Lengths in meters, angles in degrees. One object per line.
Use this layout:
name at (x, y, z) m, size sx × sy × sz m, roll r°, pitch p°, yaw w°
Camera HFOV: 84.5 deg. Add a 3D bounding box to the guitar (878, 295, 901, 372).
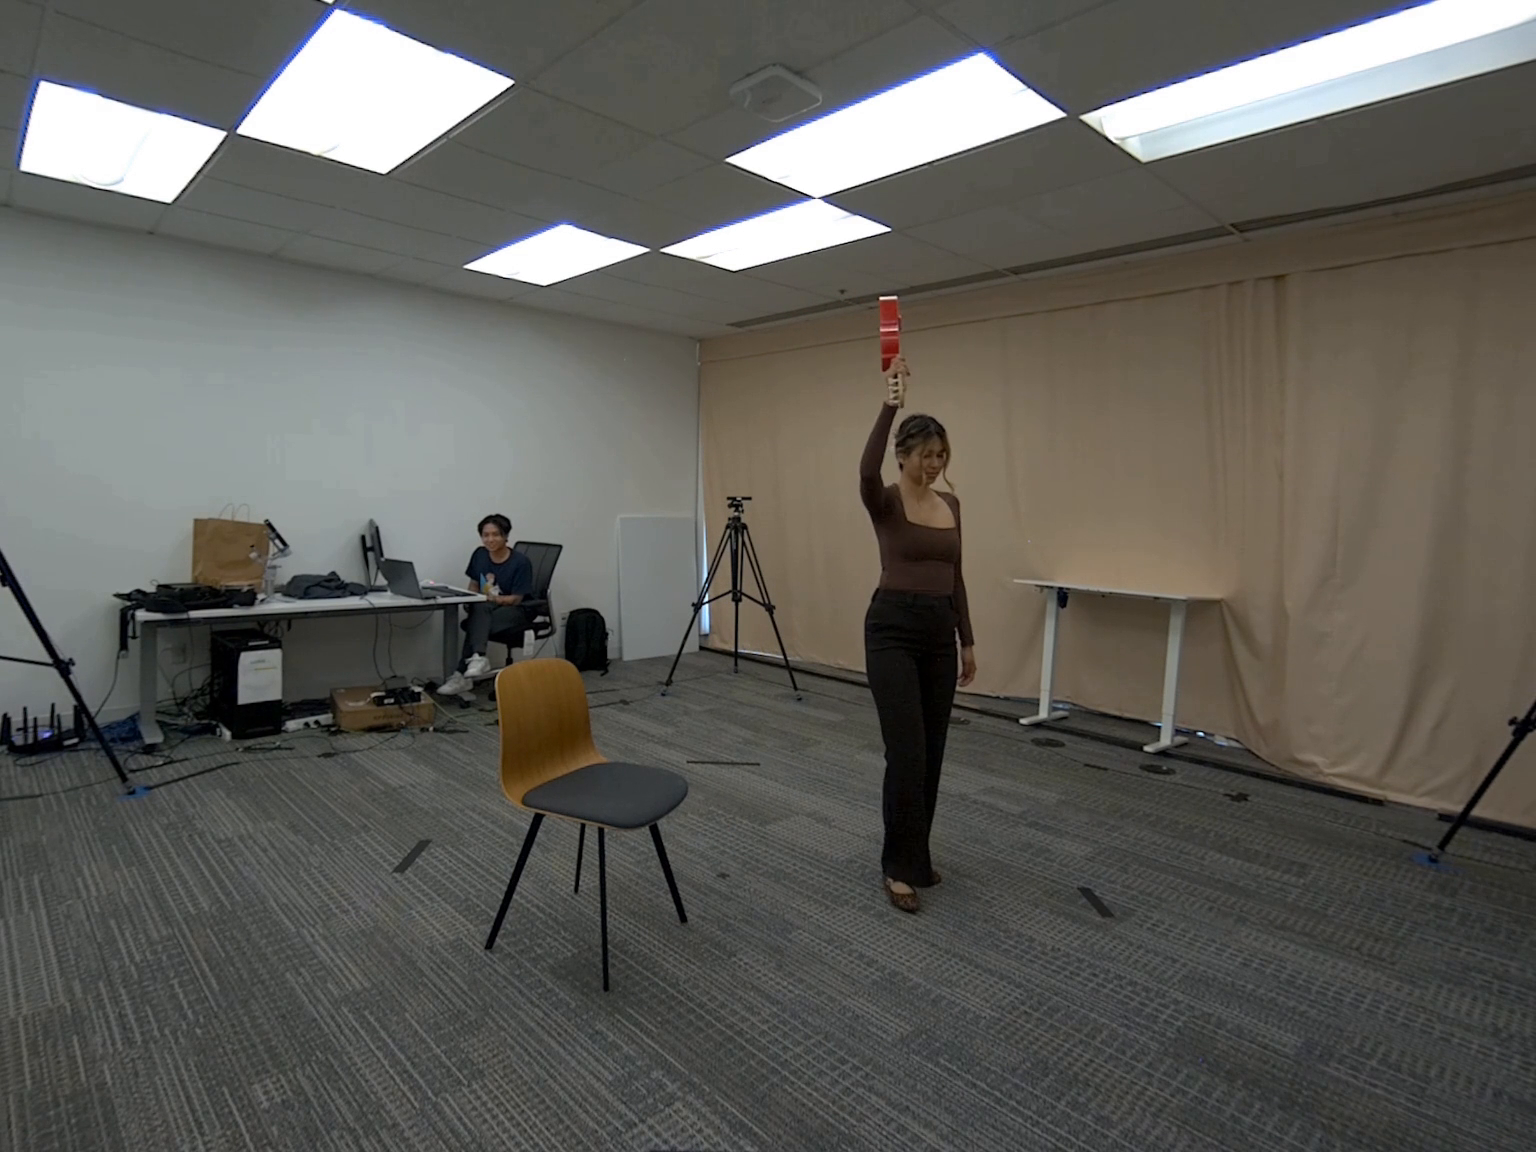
guitar at (0.394, -0.737, 2.735) m, size 0.071 × 0.188 × 0.507 m, roll -3°, pitch 40°, yaw 9°
